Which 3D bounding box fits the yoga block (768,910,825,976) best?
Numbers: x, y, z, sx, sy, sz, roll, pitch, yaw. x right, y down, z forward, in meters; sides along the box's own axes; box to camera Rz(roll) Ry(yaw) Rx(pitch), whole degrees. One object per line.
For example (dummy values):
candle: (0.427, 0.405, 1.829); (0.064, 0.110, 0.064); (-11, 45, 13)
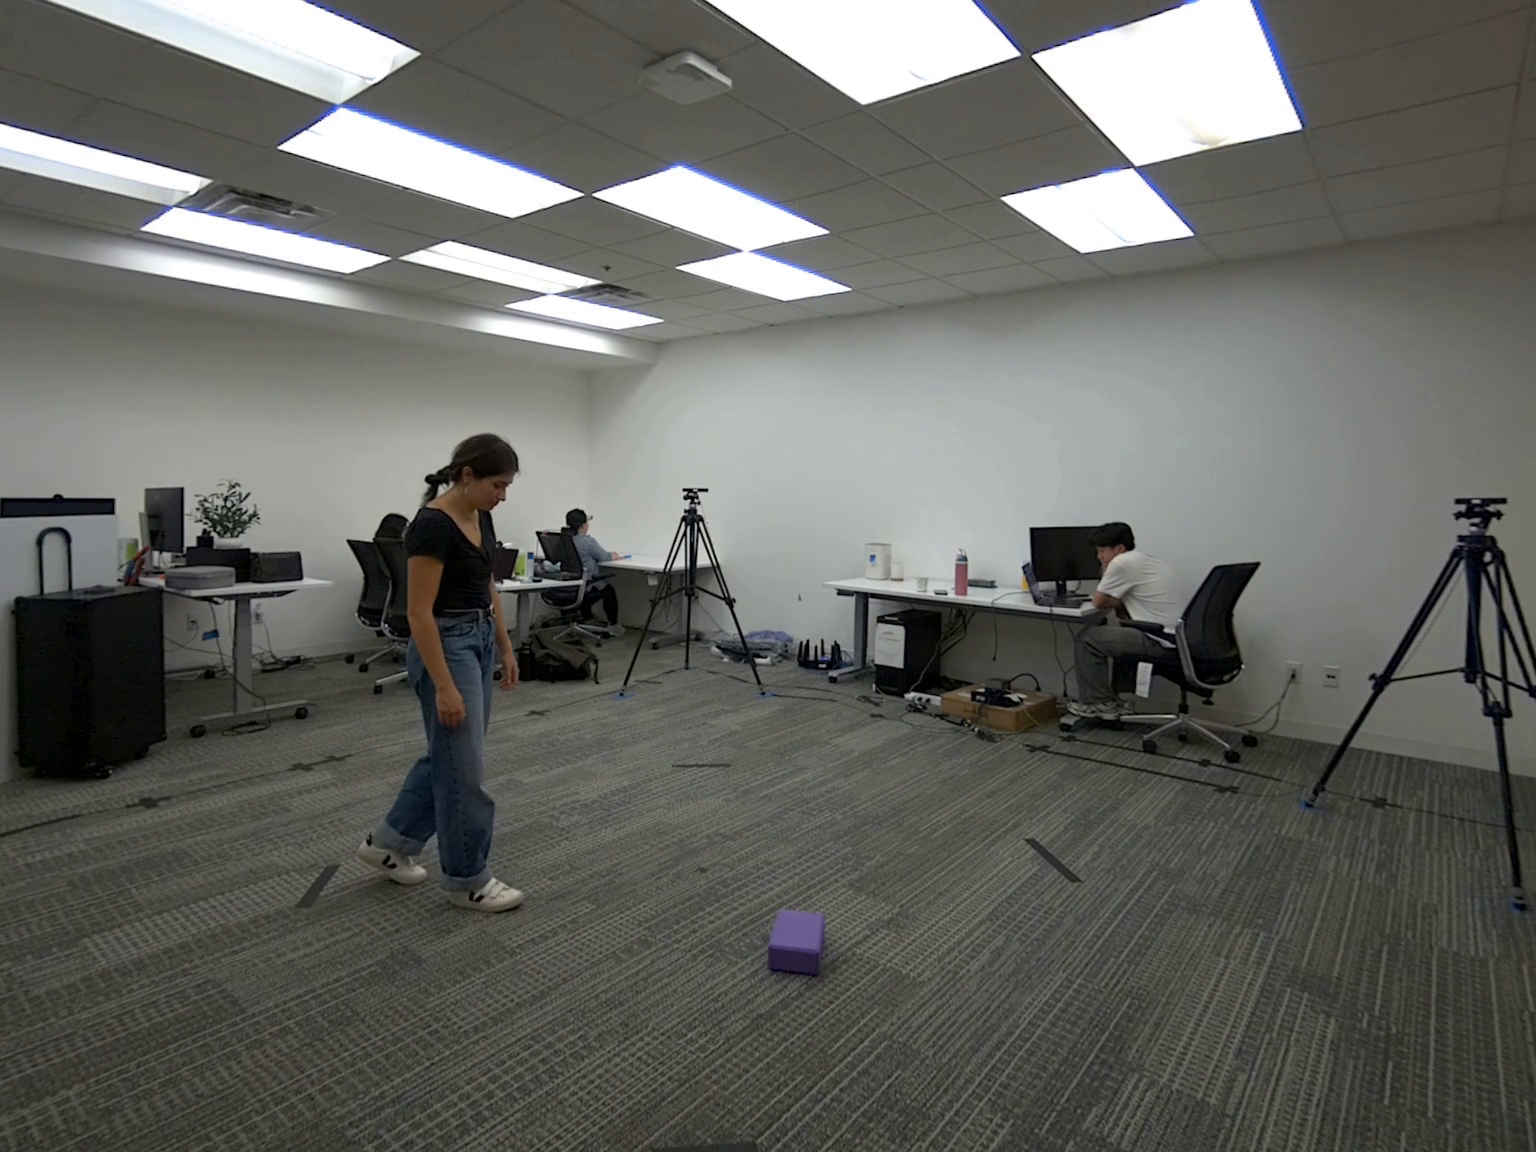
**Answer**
yoga block: (0.091, 1.084, 2.554); (0.151, 0.076, 0.227); (1, 4, 9)
